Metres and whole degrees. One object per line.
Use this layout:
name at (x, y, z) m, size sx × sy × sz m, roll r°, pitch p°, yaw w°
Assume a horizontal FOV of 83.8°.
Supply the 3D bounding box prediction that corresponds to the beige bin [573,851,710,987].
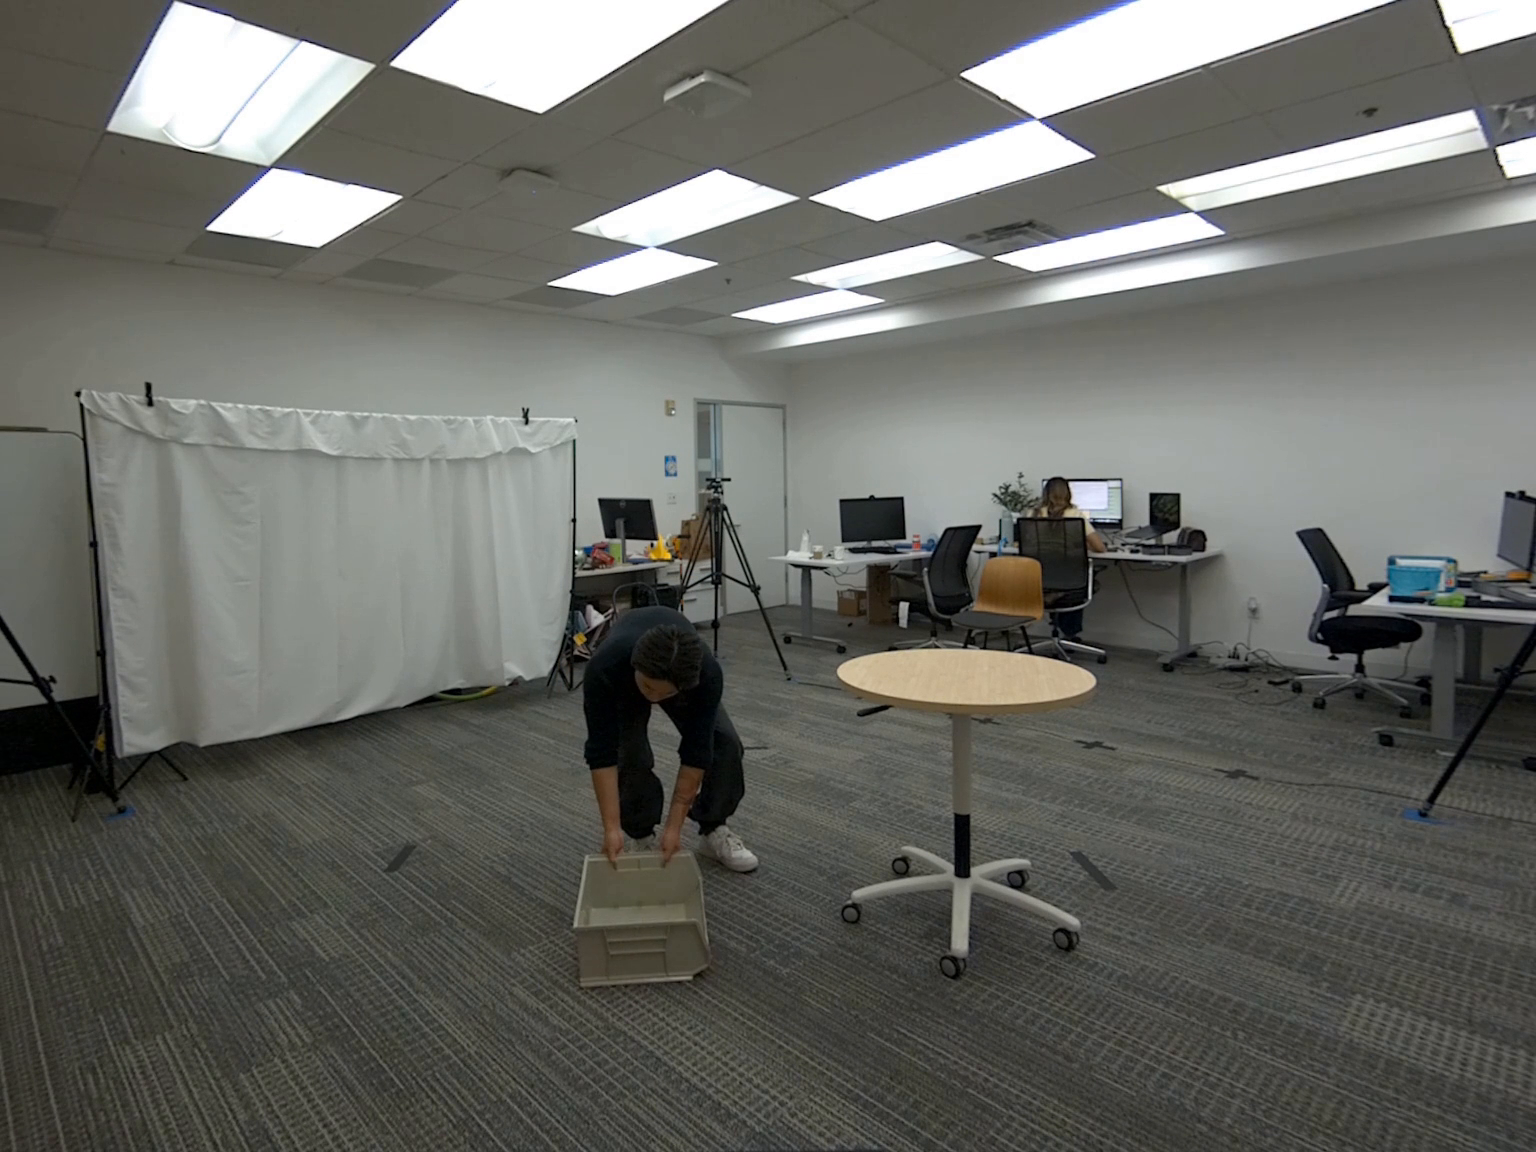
beige bin at (-0.381, 1.022, 2.564) m, size 0.376 × 0.188 × 0.426 m, roll -1°, pitch 8°, yaw -4°
